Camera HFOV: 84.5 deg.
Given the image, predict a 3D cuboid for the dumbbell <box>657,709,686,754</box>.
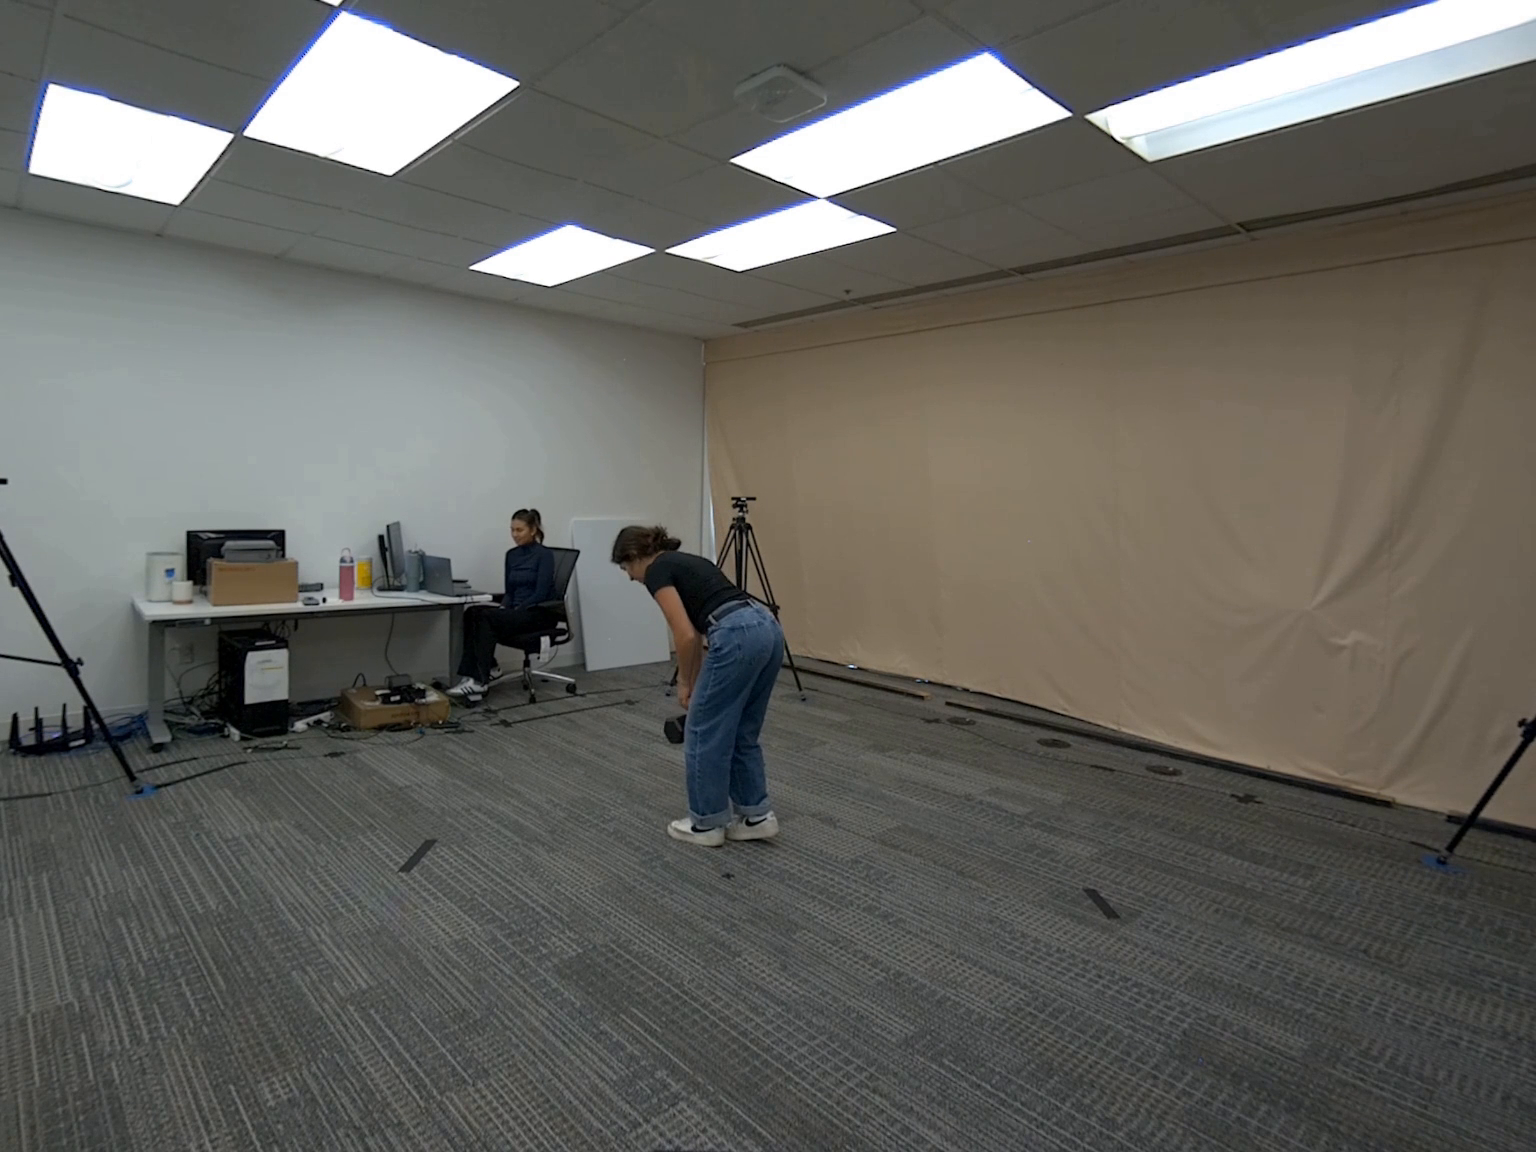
[{"bbox_3d":[-0.301,0.617,3.540,0.288,0.125,0.108,-12,-29,-51],"label":"dumbbell"}]
